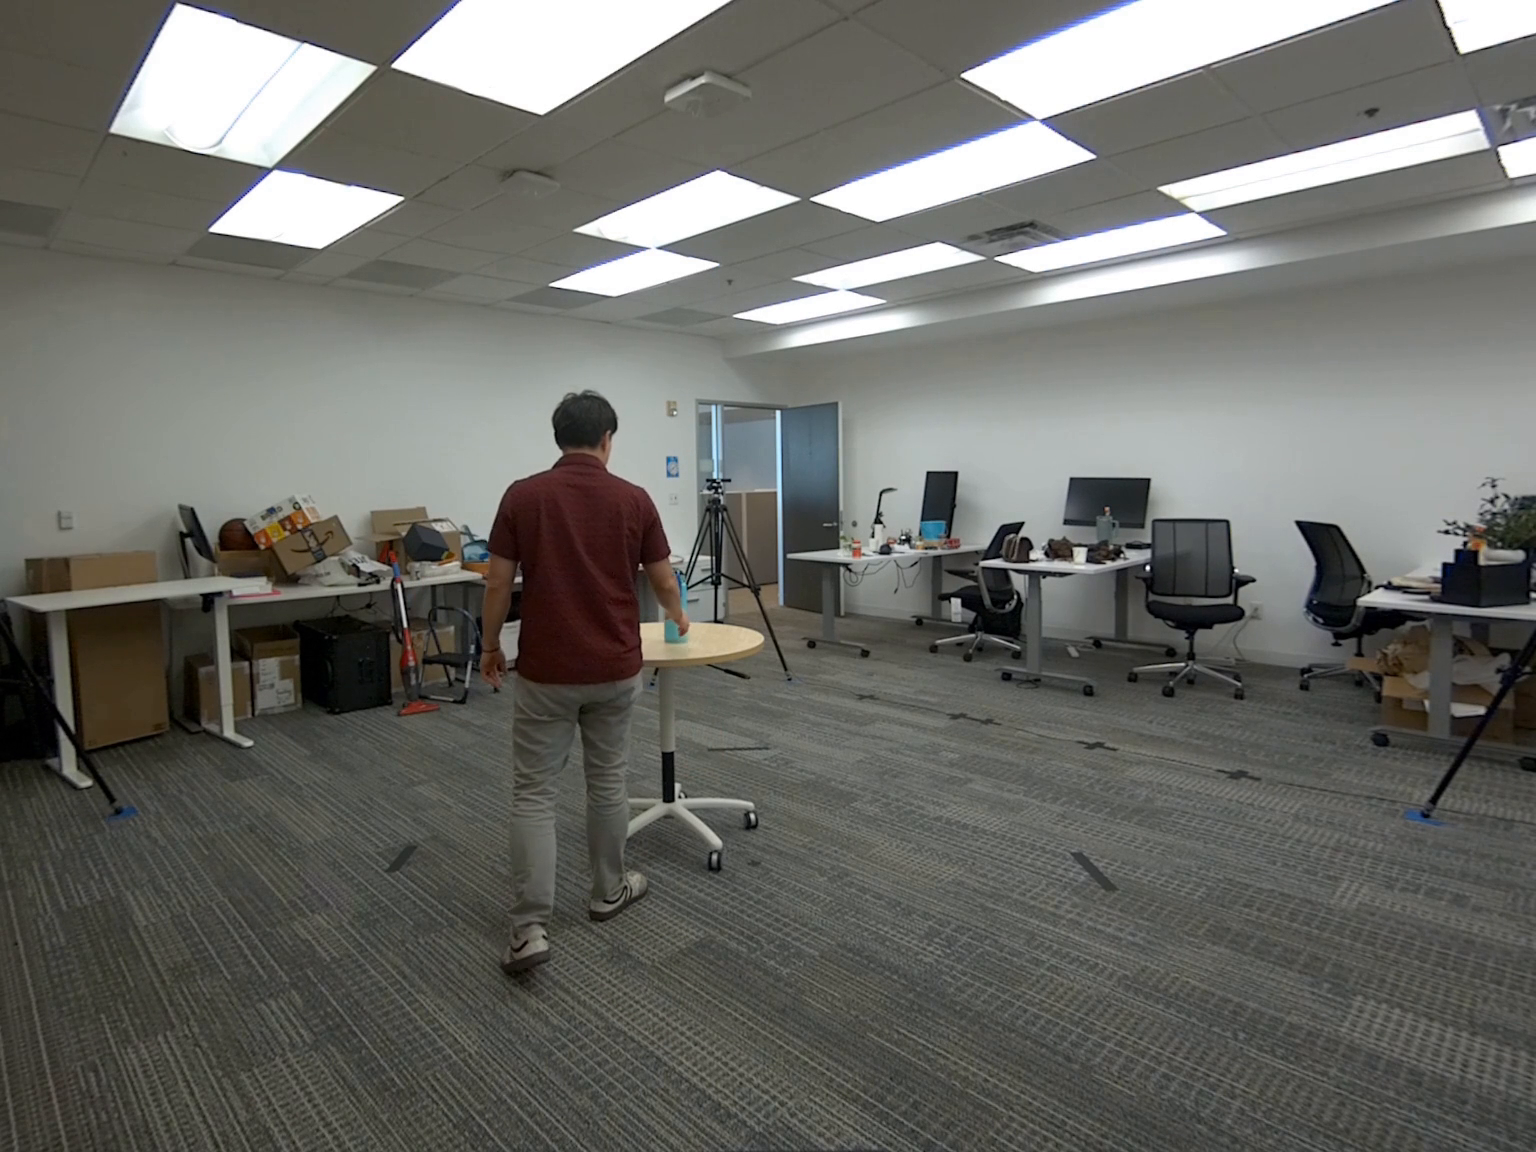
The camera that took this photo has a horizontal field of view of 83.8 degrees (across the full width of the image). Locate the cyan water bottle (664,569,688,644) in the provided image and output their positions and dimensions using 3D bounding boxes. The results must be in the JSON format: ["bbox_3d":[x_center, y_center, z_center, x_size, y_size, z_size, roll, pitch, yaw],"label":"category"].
[{"bbox_3d":[-0.352,0.111,3.245,0.092,0.282,0.093,-1,5,-2],"label":"cyan water bottle"}]
